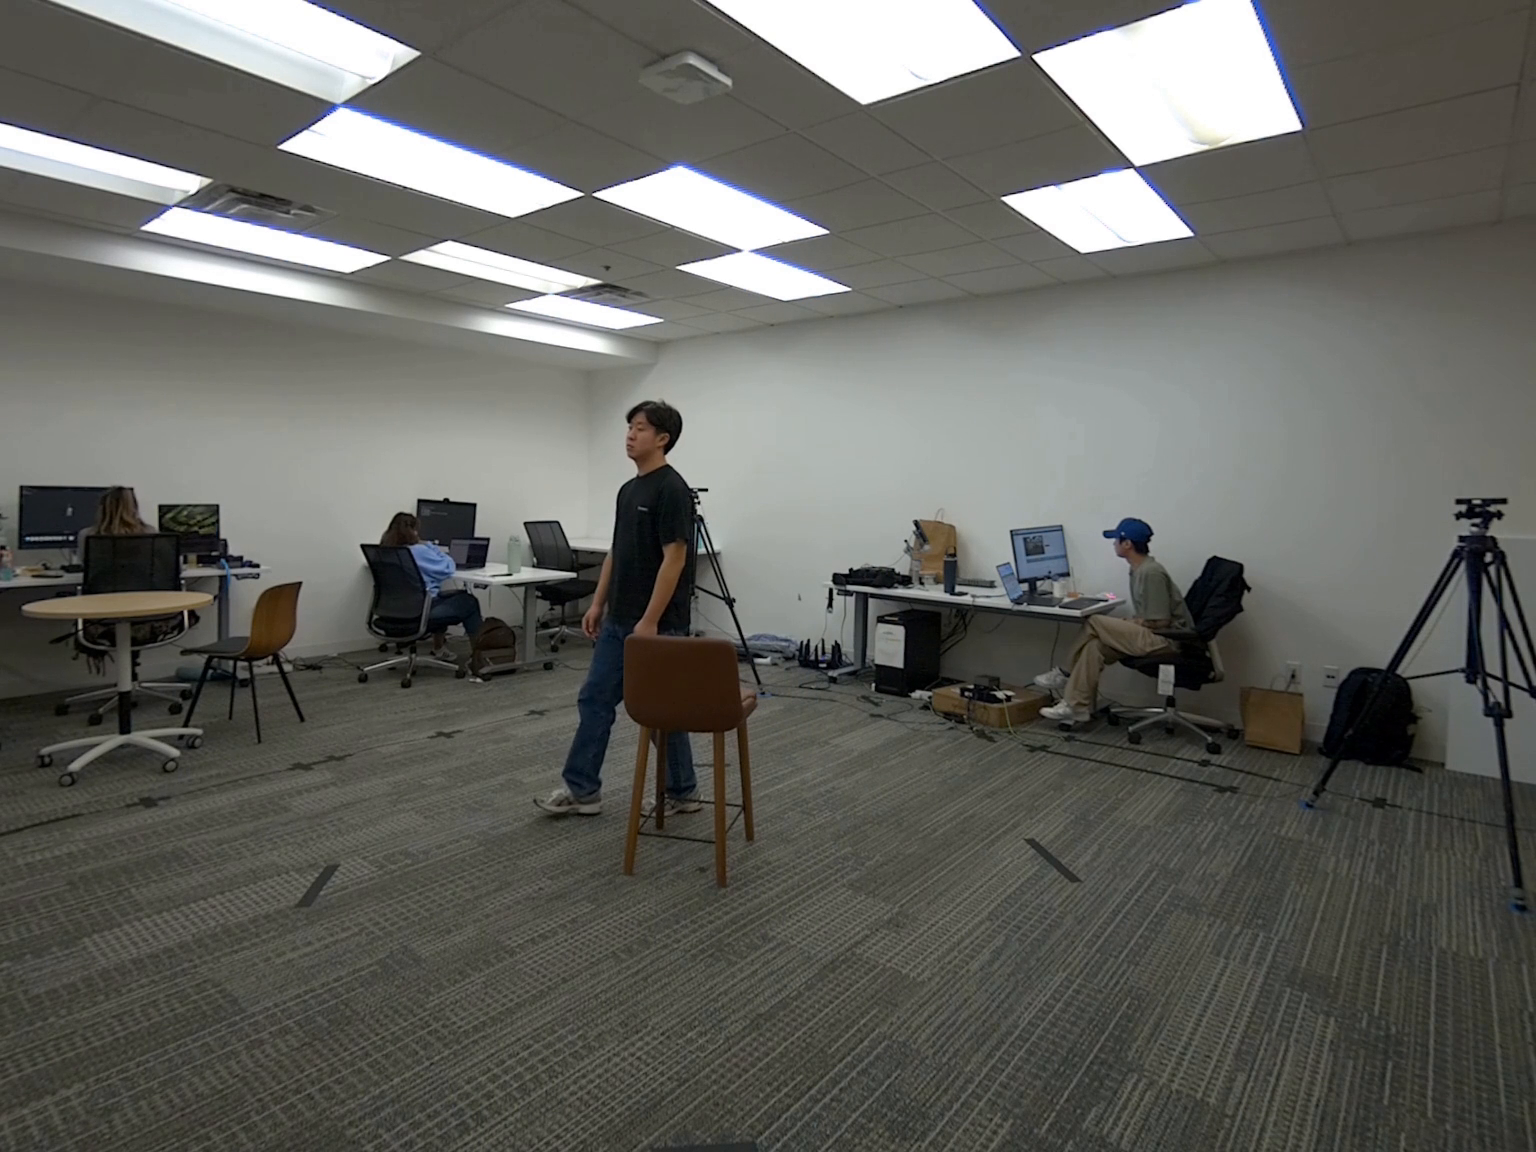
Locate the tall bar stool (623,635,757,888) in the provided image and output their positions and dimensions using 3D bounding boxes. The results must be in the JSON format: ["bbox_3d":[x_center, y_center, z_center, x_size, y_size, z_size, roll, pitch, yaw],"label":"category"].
[{"bbox_3d":[-0.298,0.623,3.198,0.464,0.886,0.462,1,5,14],"label":"tall bar stool"}]
